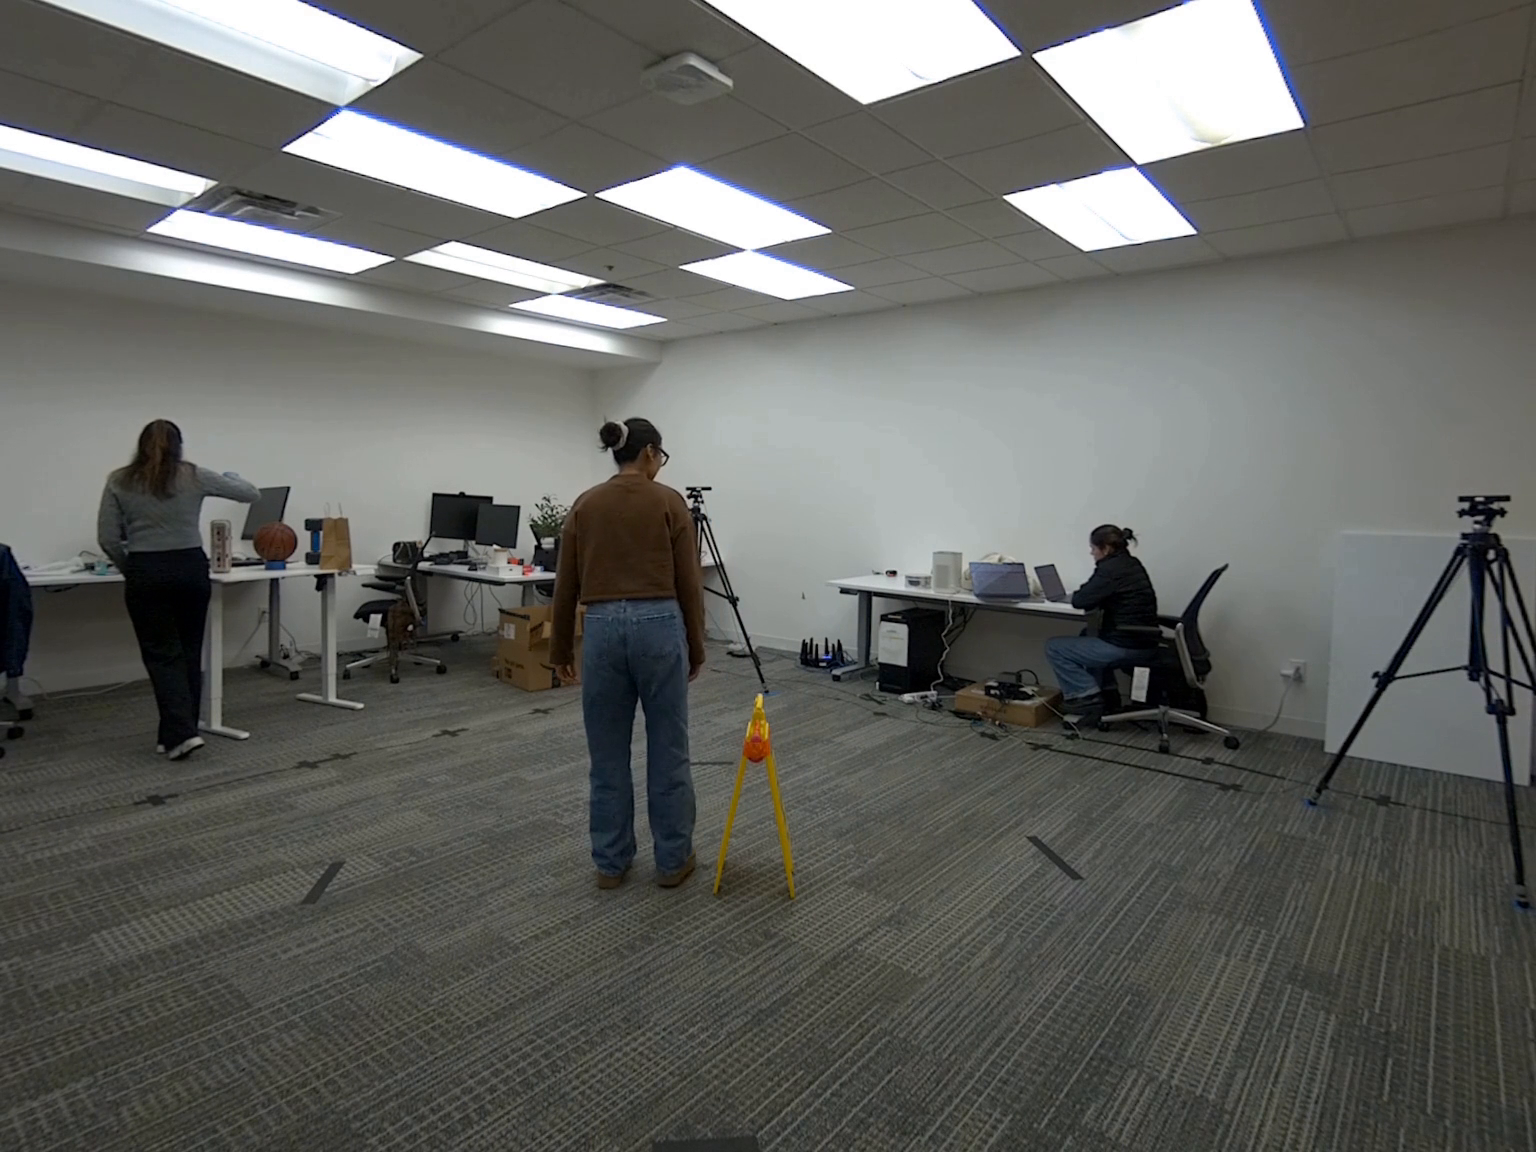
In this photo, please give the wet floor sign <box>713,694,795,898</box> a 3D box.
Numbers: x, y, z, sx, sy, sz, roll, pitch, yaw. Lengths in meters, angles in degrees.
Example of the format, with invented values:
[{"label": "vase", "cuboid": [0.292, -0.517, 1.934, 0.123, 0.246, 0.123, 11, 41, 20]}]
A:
[{"label": "wet floor sign", "cuboid": [-0.046, 0.761, 3.018, 0.291, 0.644, 0.282, 2, 4, 2]}]
